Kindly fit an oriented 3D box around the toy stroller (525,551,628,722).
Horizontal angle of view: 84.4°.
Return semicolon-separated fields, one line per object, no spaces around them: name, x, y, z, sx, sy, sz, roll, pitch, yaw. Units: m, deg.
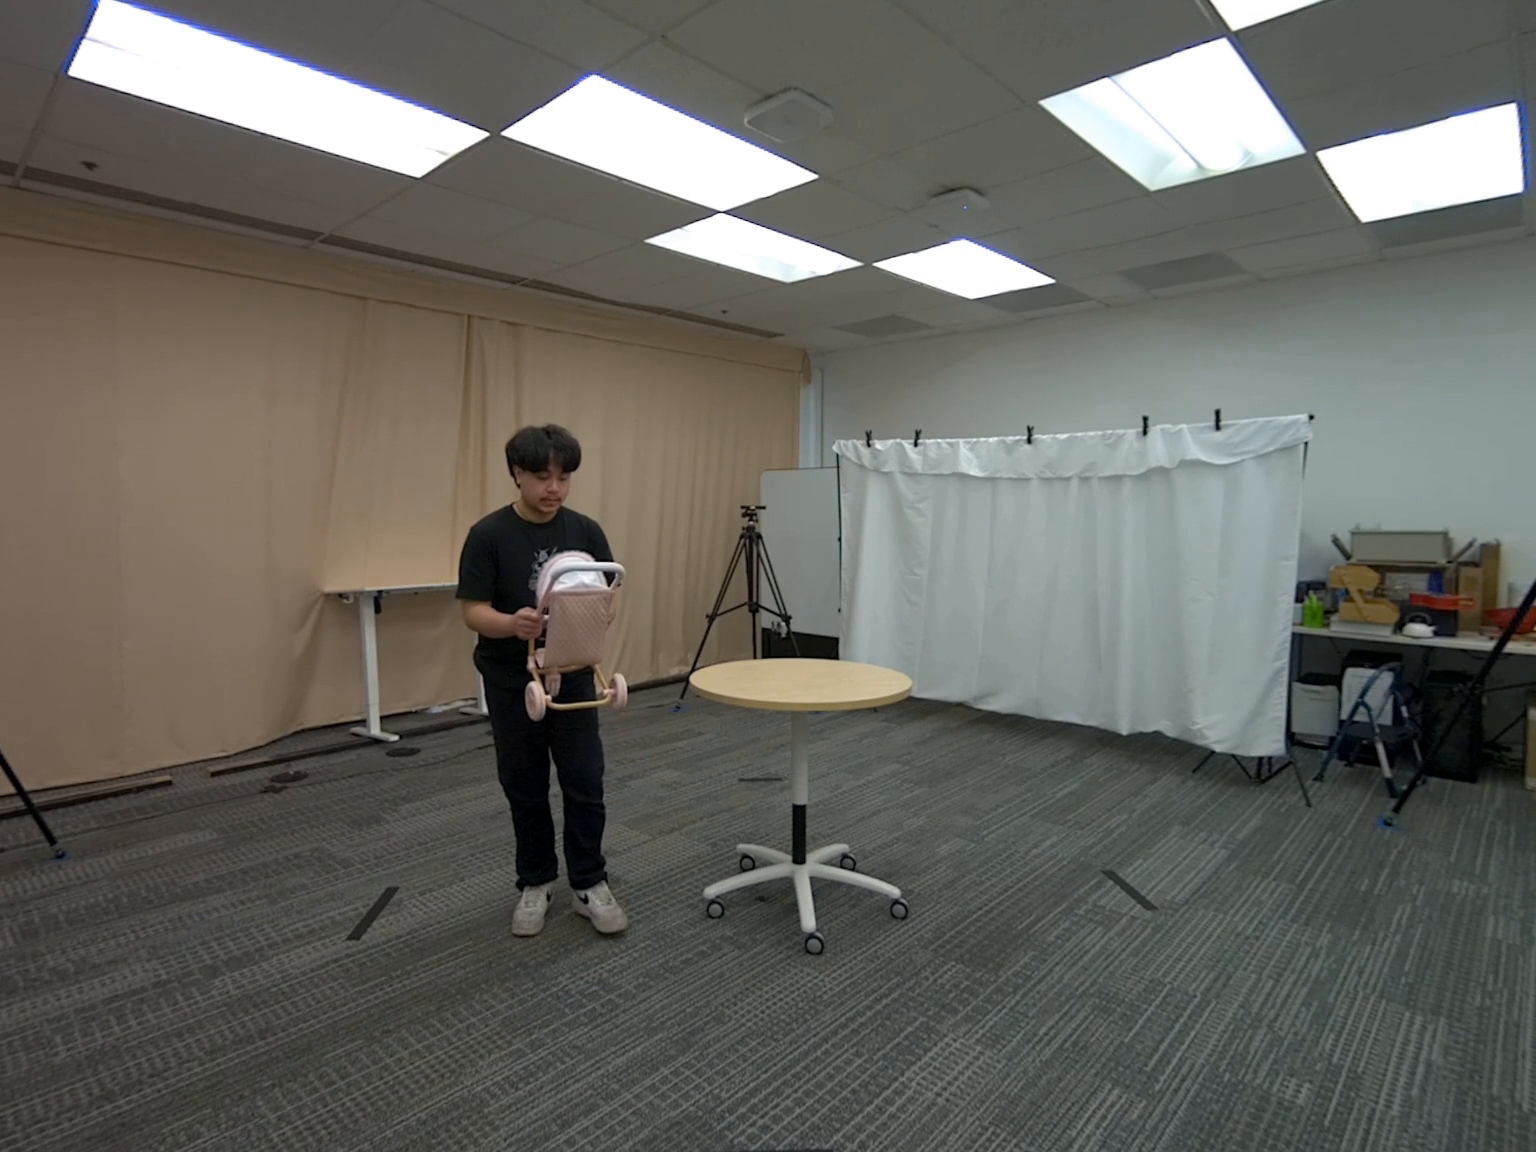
toy stroller;-0.580;0.170;2.471;0.275;0.531;0.352;-1;17;-25
